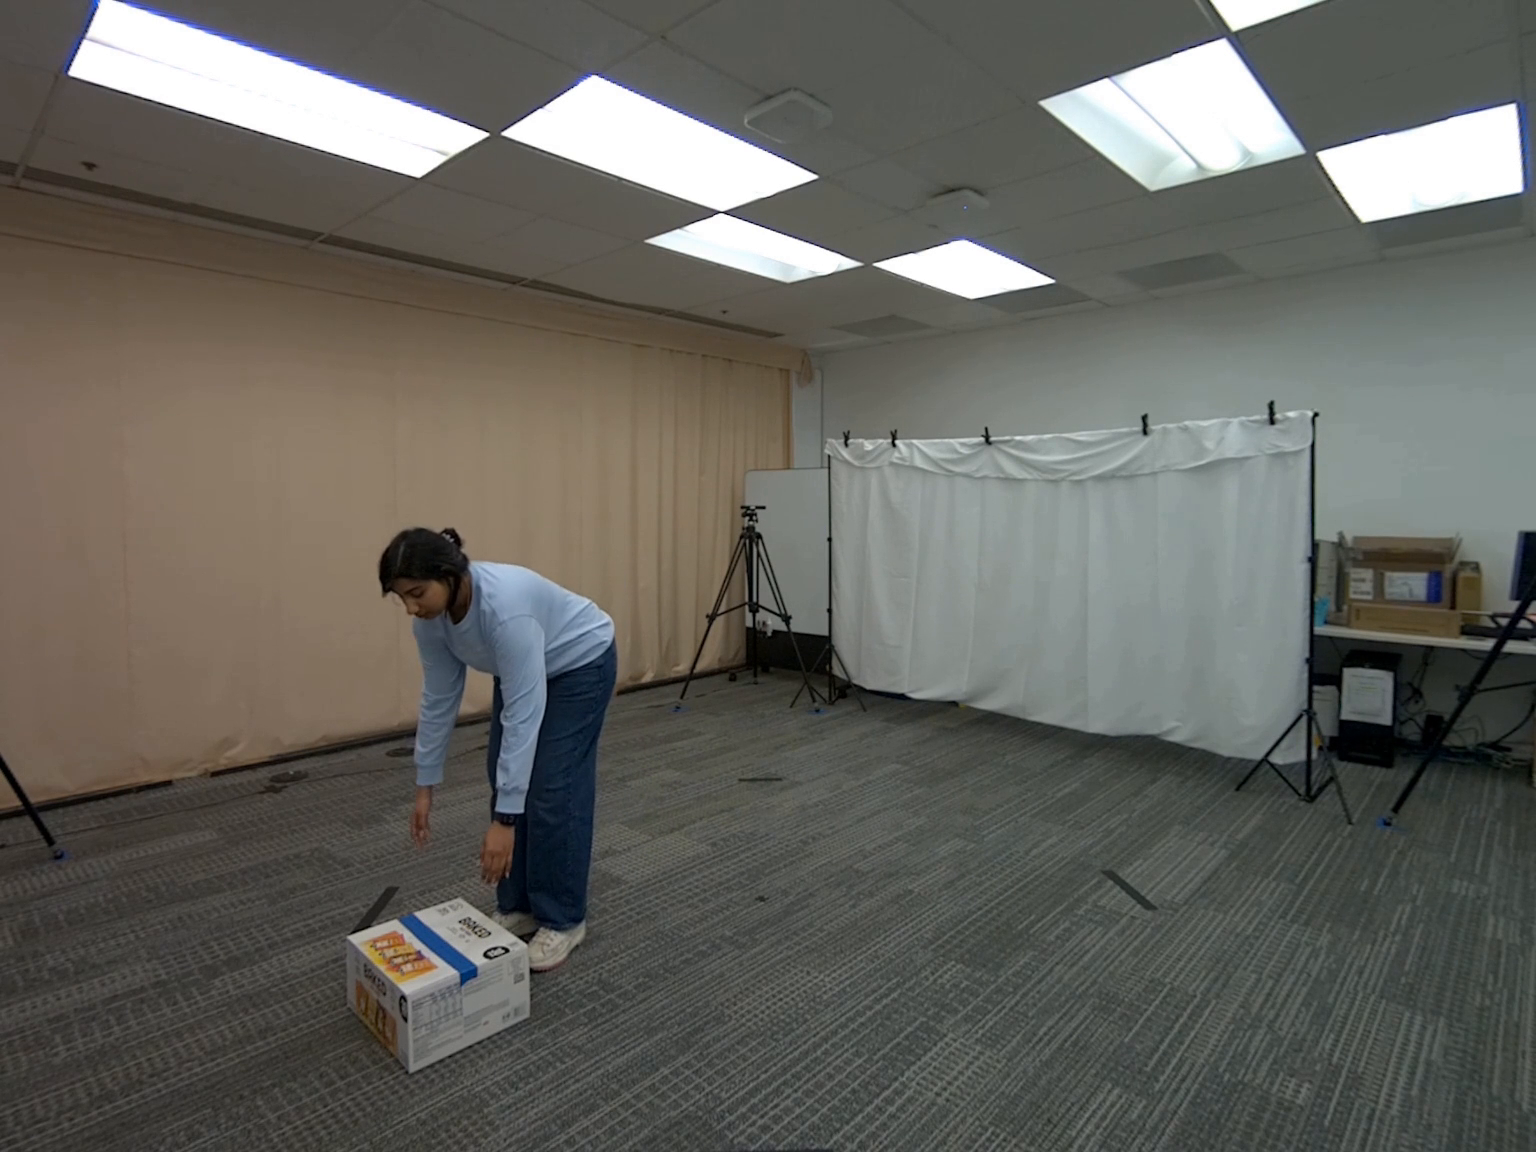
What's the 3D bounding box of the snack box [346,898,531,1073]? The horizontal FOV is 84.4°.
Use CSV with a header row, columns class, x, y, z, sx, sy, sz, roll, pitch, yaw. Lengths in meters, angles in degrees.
class,x,y,z,sx,sy,sz,roll,pitch,yaw
snack box,-0.912,1.103,2.313,0.418,0.205,0.330,3,6,45
